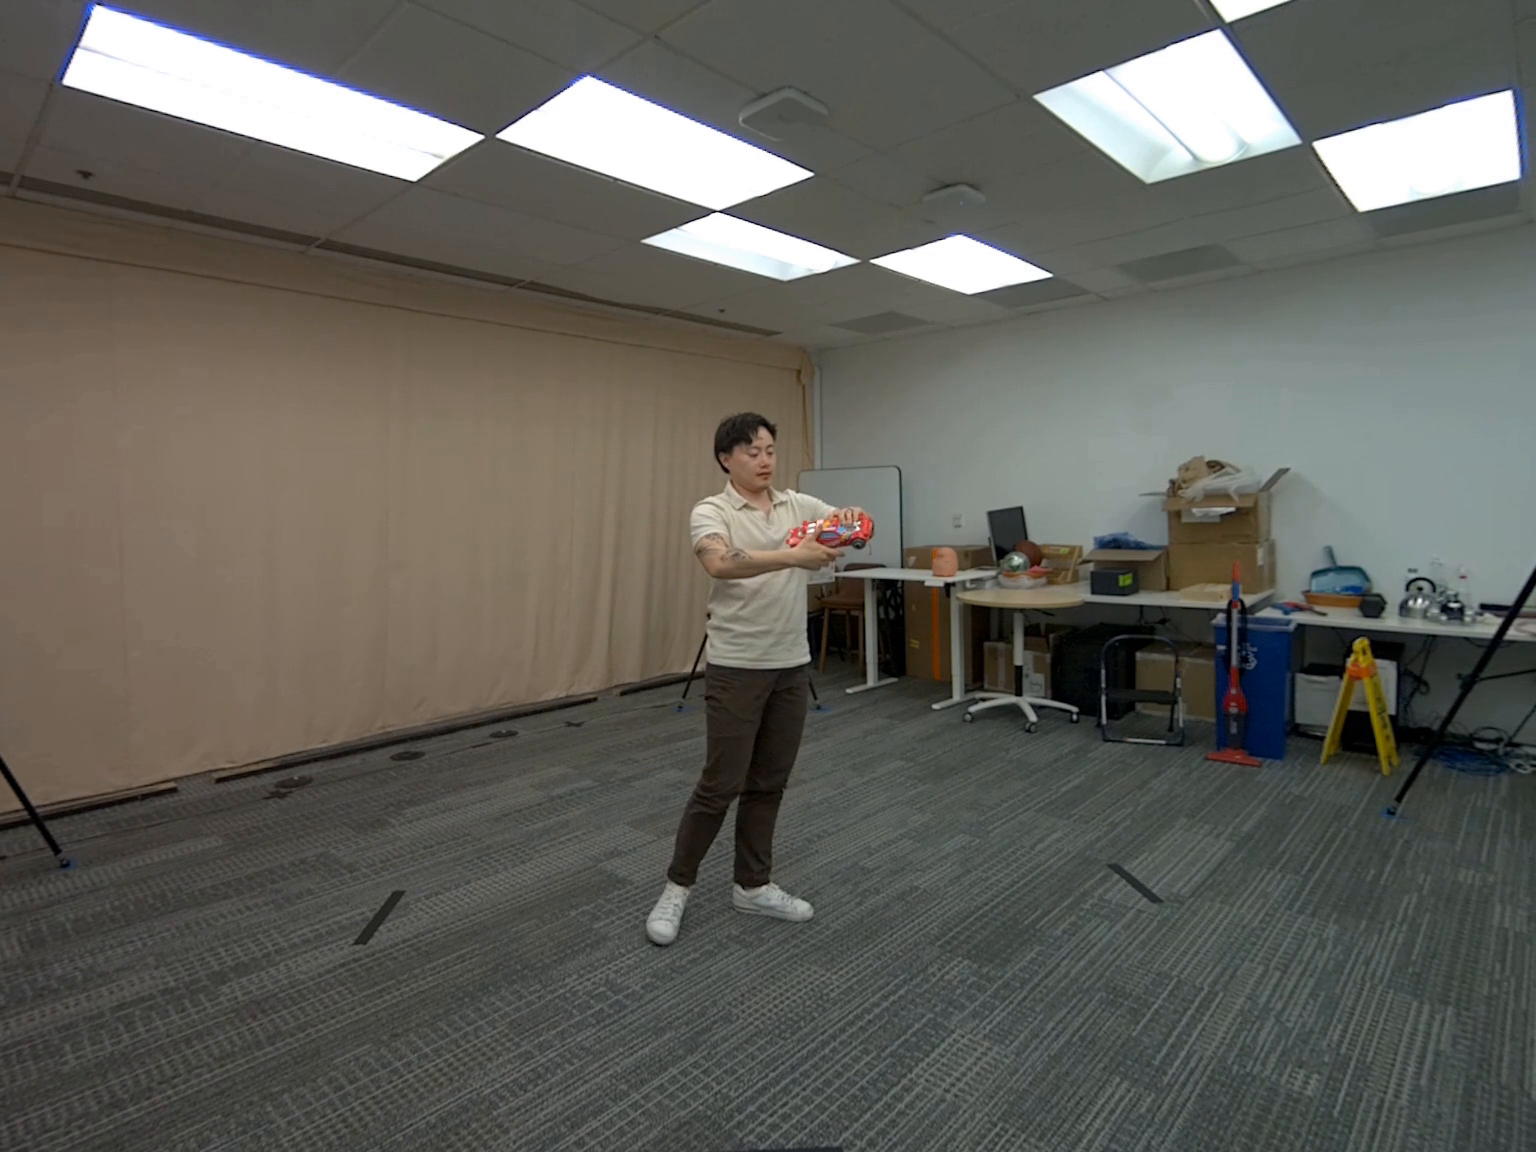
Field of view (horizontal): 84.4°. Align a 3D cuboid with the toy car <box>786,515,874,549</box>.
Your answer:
[{"bbox_3d":[0.182,-0.124,2.516,0.259,0.081,0.131,-2,42,16],"label":"toy car"}]
